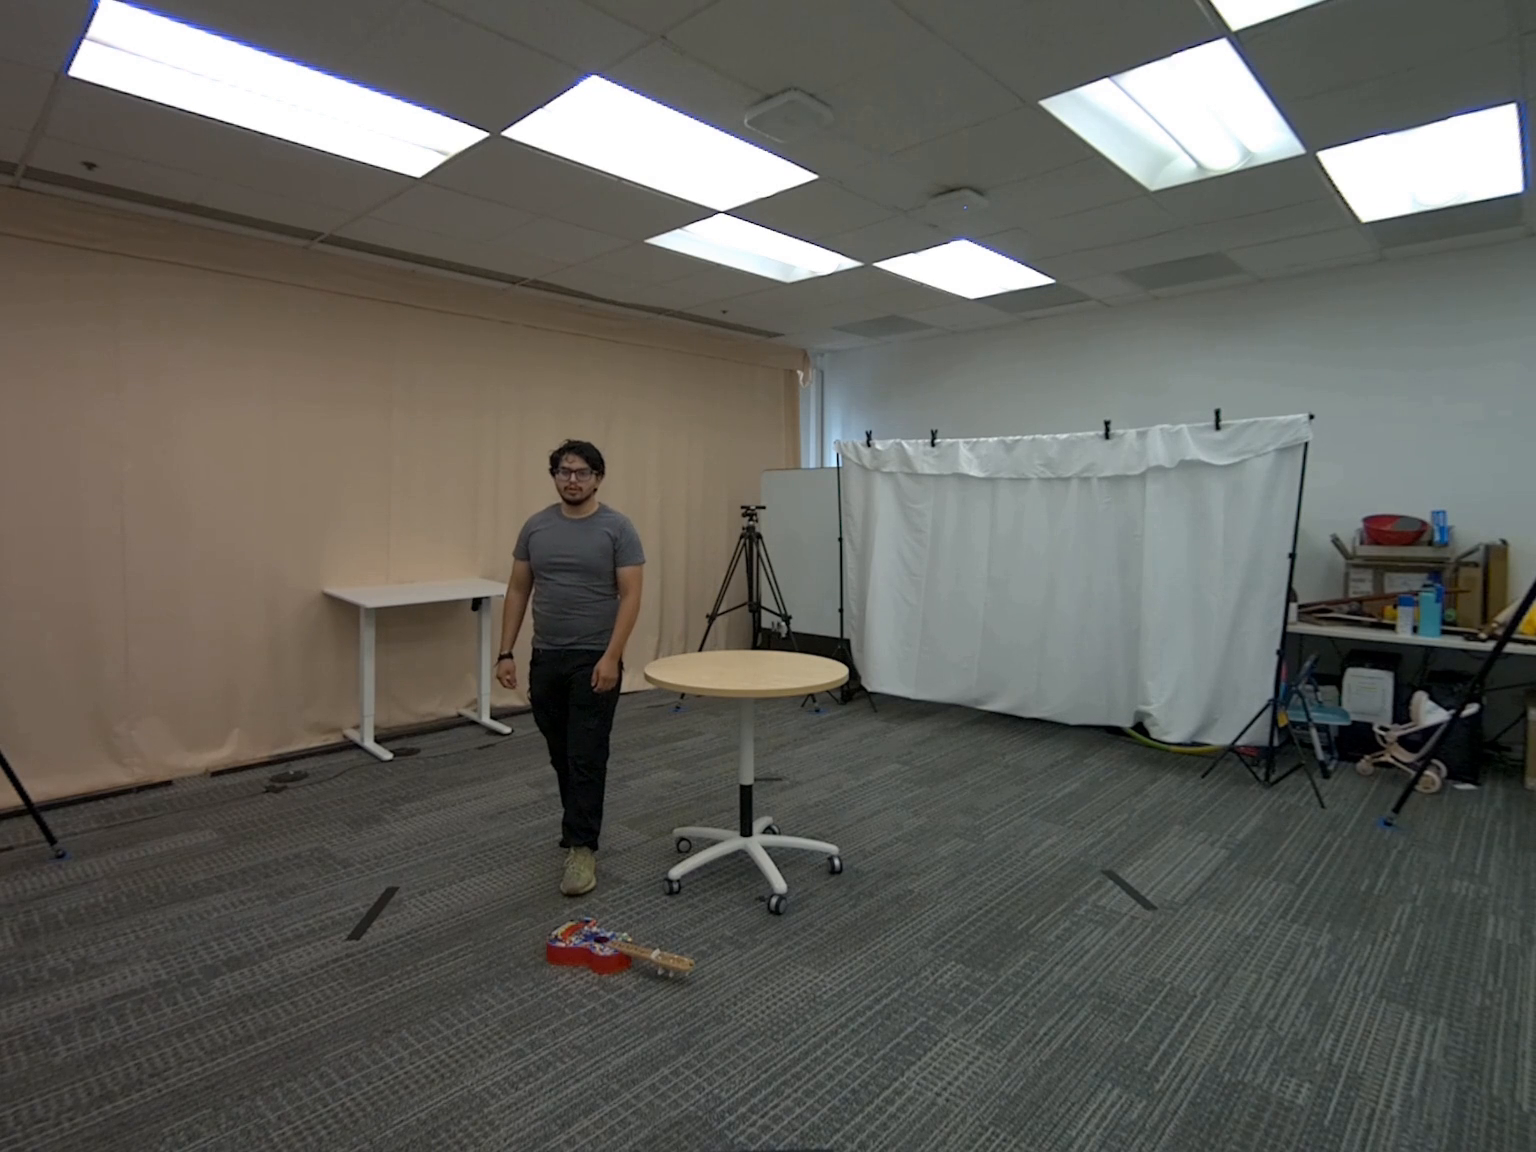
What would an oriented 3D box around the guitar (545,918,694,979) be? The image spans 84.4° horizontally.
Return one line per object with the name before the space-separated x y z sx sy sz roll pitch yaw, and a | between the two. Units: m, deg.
guitar | -0.458 1.152 2.528 0.513 0.070 0.187 2 5 36
